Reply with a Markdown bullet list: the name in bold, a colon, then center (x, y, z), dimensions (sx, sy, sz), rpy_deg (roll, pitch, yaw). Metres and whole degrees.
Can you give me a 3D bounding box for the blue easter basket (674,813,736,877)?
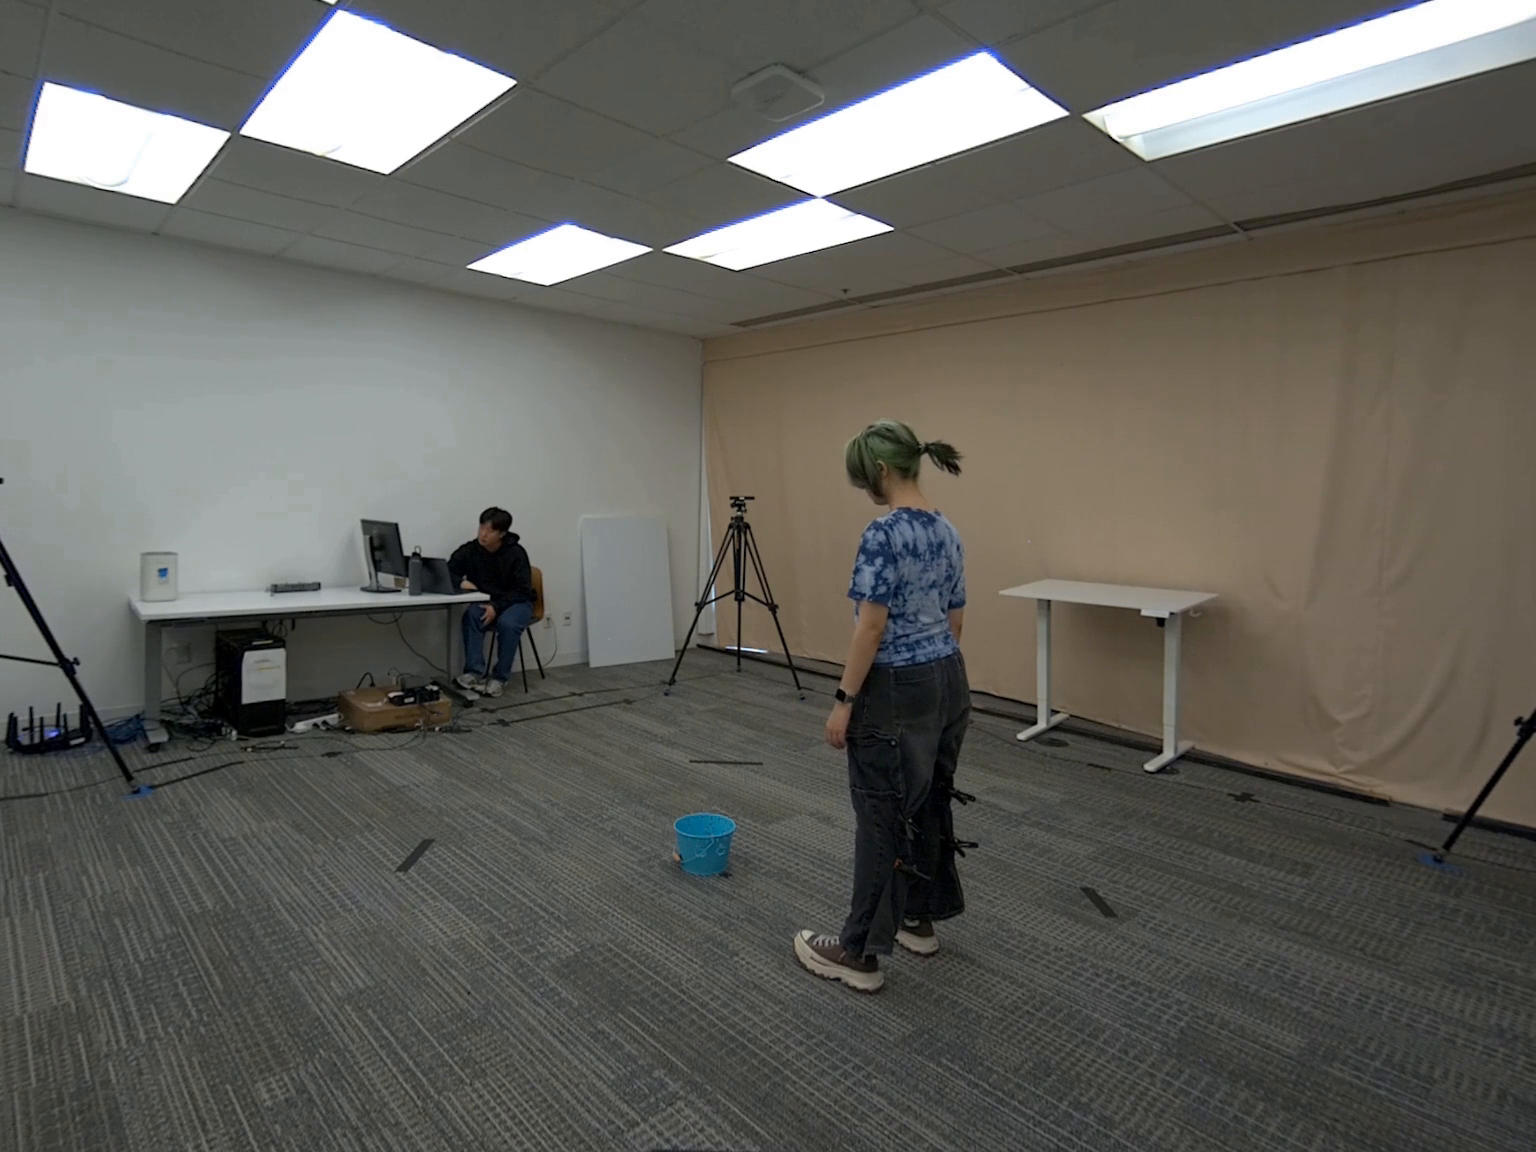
- **blue easter basket**: center (-0.244, 1.014, 3.185), dimensions (0.243, 0.155, 0.244), rpy_deg (1, 5, -1)
